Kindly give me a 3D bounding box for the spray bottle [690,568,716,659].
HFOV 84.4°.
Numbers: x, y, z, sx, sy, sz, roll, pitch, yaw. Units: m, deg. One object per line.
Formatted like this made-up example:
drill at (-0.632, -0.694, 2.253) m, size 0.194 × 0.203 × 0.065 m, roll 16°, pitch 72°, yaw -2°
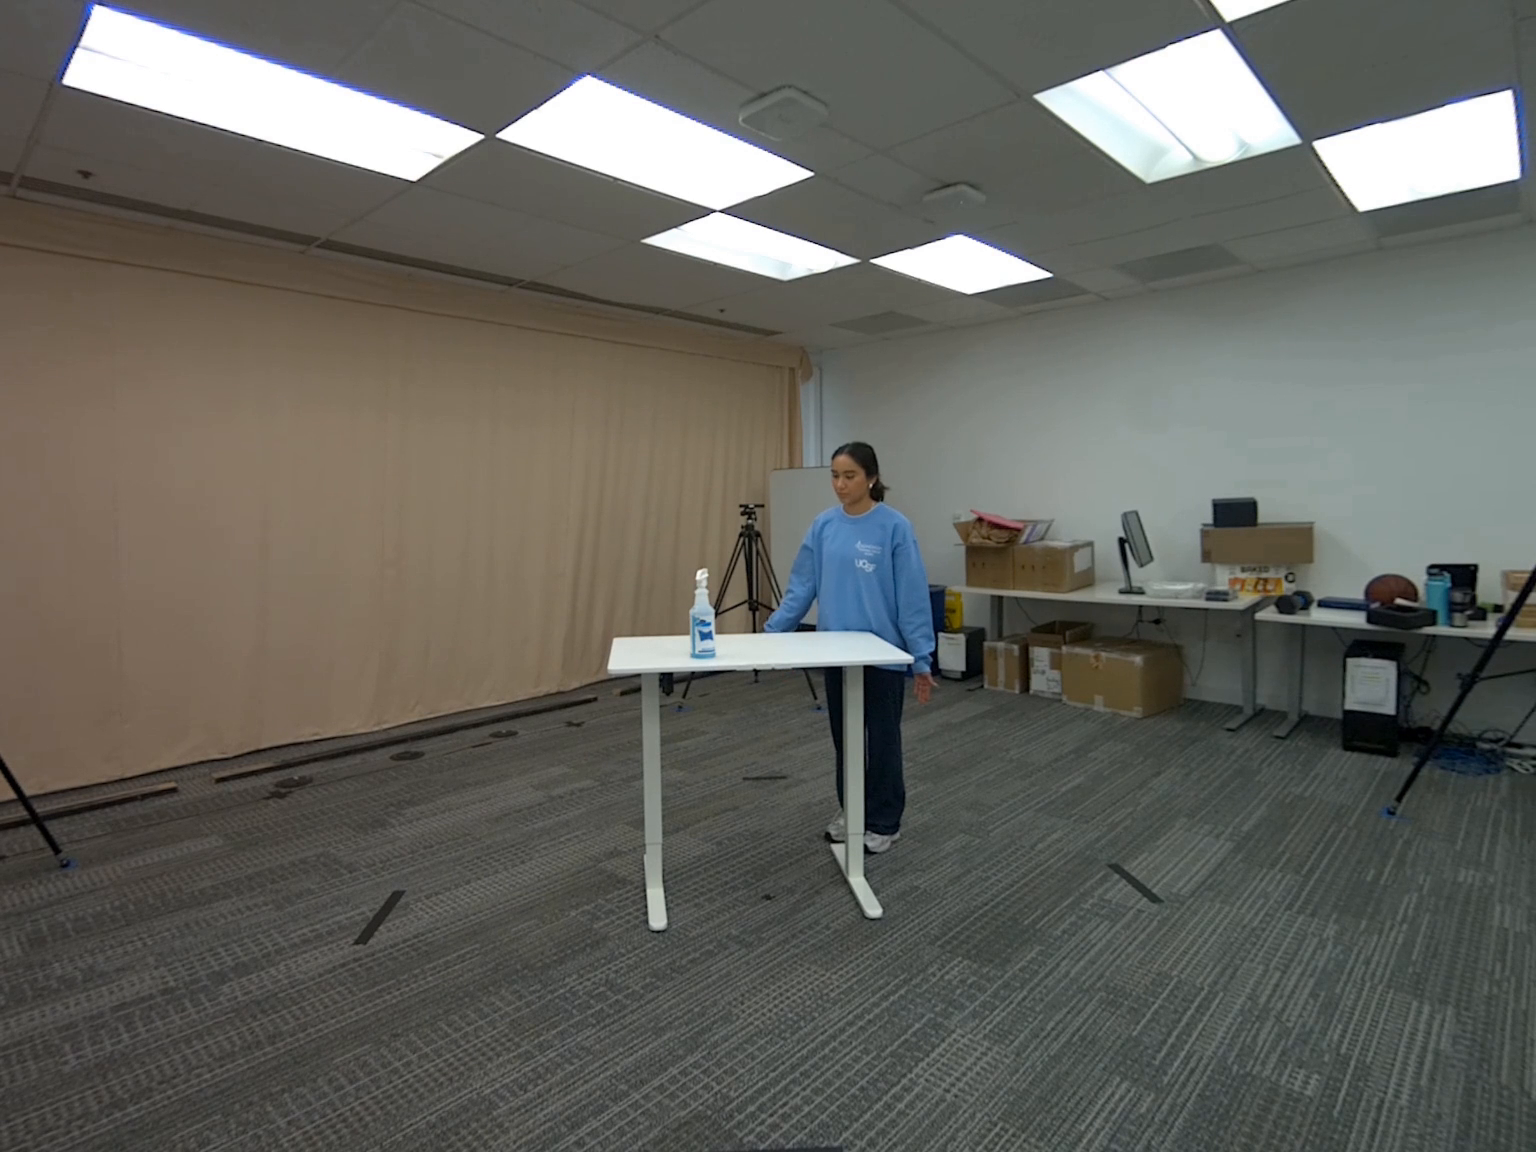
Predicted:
spray bottle at (-0.222, 0.129, 2.848) m, size 0.090 × 0.297 × 0.087 m, roll 1°, pitch 4°, yaw 41°
